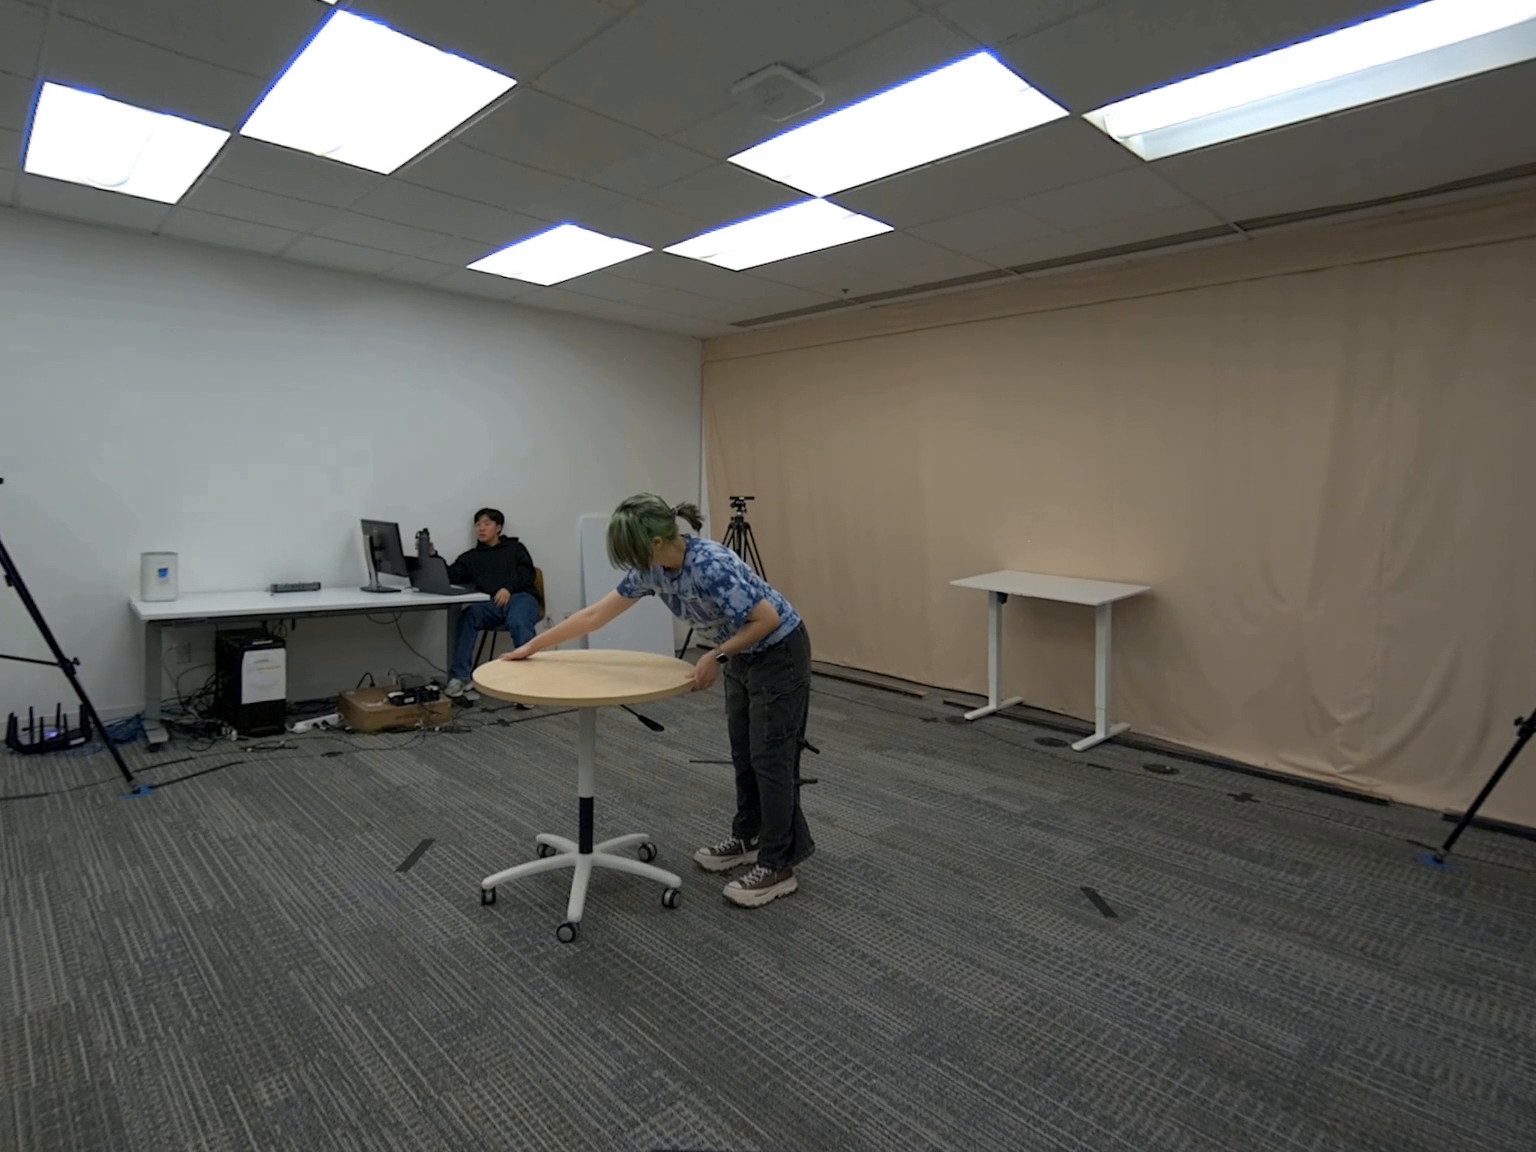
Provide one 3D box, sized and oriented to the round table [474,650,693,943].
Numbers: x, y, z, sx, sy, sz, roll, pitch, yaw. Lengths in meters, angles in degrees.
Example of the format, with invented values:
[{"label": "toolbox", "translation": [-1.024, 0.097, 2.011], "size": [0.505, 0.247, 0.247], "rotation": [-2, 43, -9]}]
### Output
[{"label": "round table", "translation": [-0.634, 0.723, 2.924], "size": [0.763, 0.792, 0.767], "rotation": [2, 4, -1]}]
